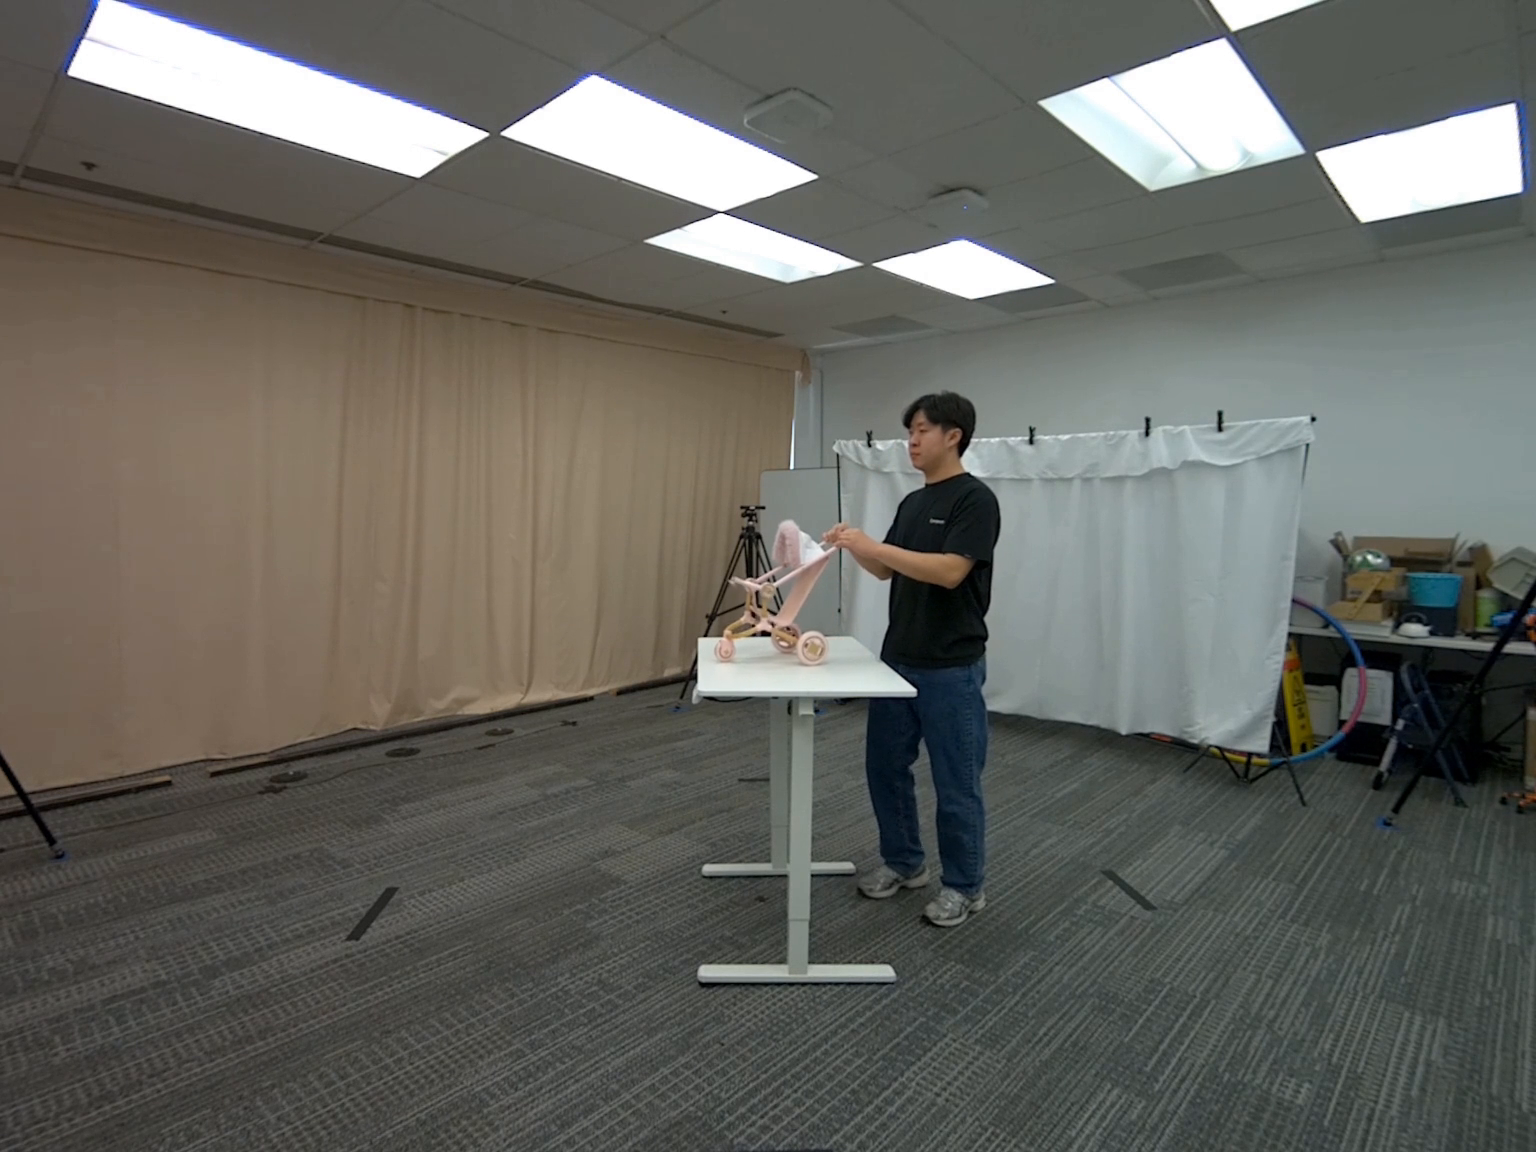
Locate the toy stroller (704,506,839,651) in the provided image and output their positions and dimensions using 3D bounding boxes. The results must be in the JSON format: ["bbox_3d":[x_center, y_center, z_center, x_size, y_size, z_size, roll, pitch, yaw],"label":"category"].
[{"bbox_3d":[0.047,0.056,2.778,0.337,0.535,0.285,15,-1,-11],"label":"toy stroller"}]
